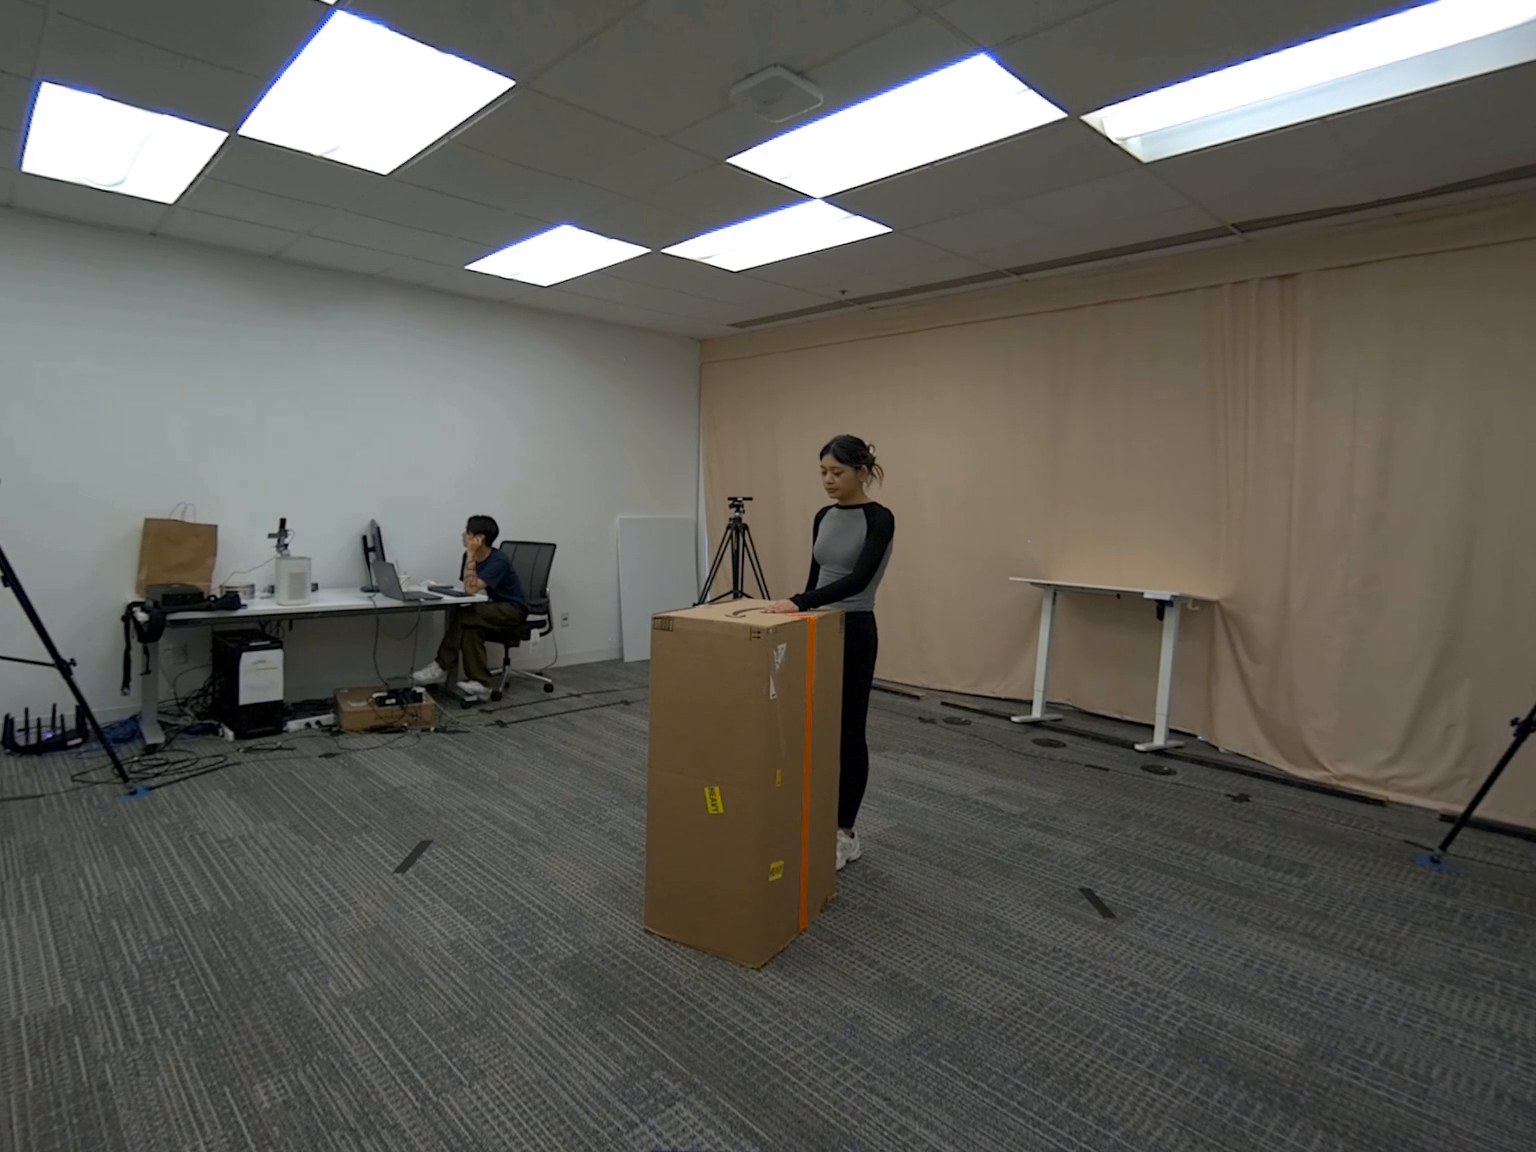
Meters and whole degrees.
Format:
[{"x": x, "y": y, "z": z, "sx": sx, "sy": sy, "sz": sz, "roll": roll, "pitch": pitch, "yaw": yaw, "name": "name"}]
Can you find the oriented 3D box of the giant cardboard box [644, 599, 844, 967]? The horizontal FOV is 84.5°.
[{"x": -0.069, "y": 0.631, "z": 2.805, "sx": 0.456, "sy": 1.025, "sz": 0.573, "roll": 2, "pitch": 3, "yaw": 29, "name": "giant cardboard box"}]
